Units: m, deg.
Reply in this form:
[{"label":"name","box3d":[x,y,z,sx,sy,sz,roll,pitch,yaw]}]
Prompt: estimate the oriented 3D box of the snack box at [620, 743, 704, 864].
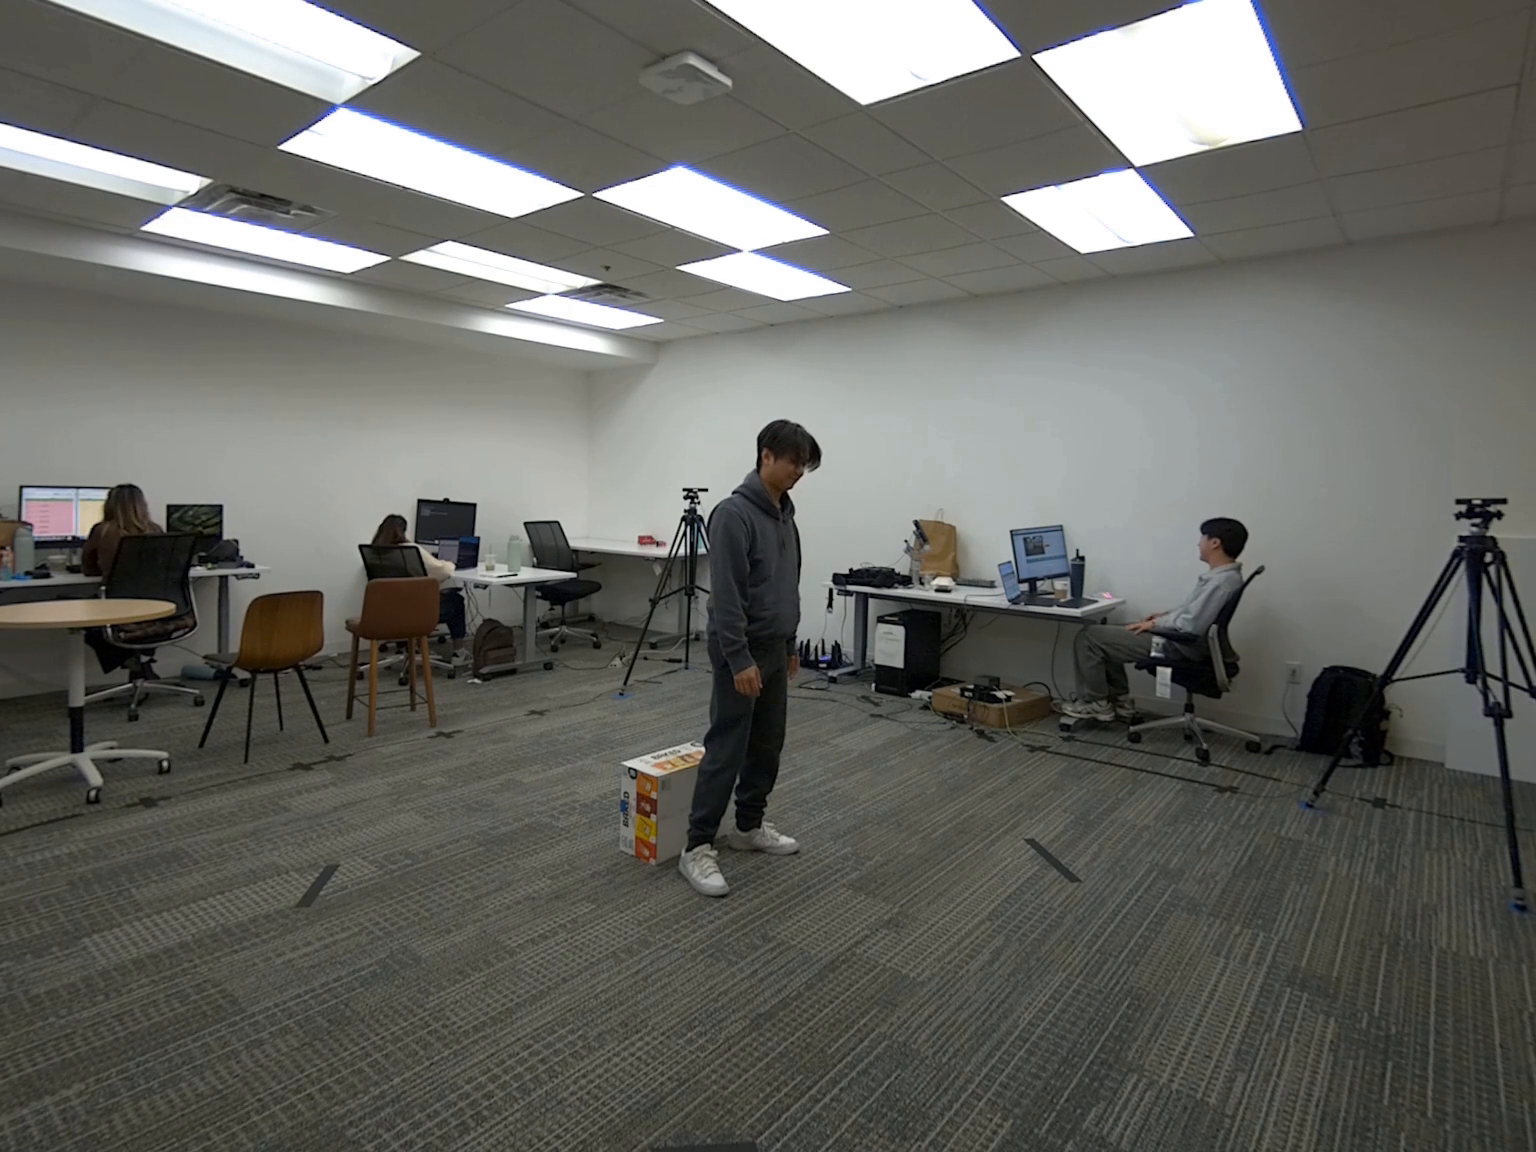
[{"label":"snack box","box3d":[-0.371,0.876,3.333,0.213,0.339,0.393,6,6,40]}]
